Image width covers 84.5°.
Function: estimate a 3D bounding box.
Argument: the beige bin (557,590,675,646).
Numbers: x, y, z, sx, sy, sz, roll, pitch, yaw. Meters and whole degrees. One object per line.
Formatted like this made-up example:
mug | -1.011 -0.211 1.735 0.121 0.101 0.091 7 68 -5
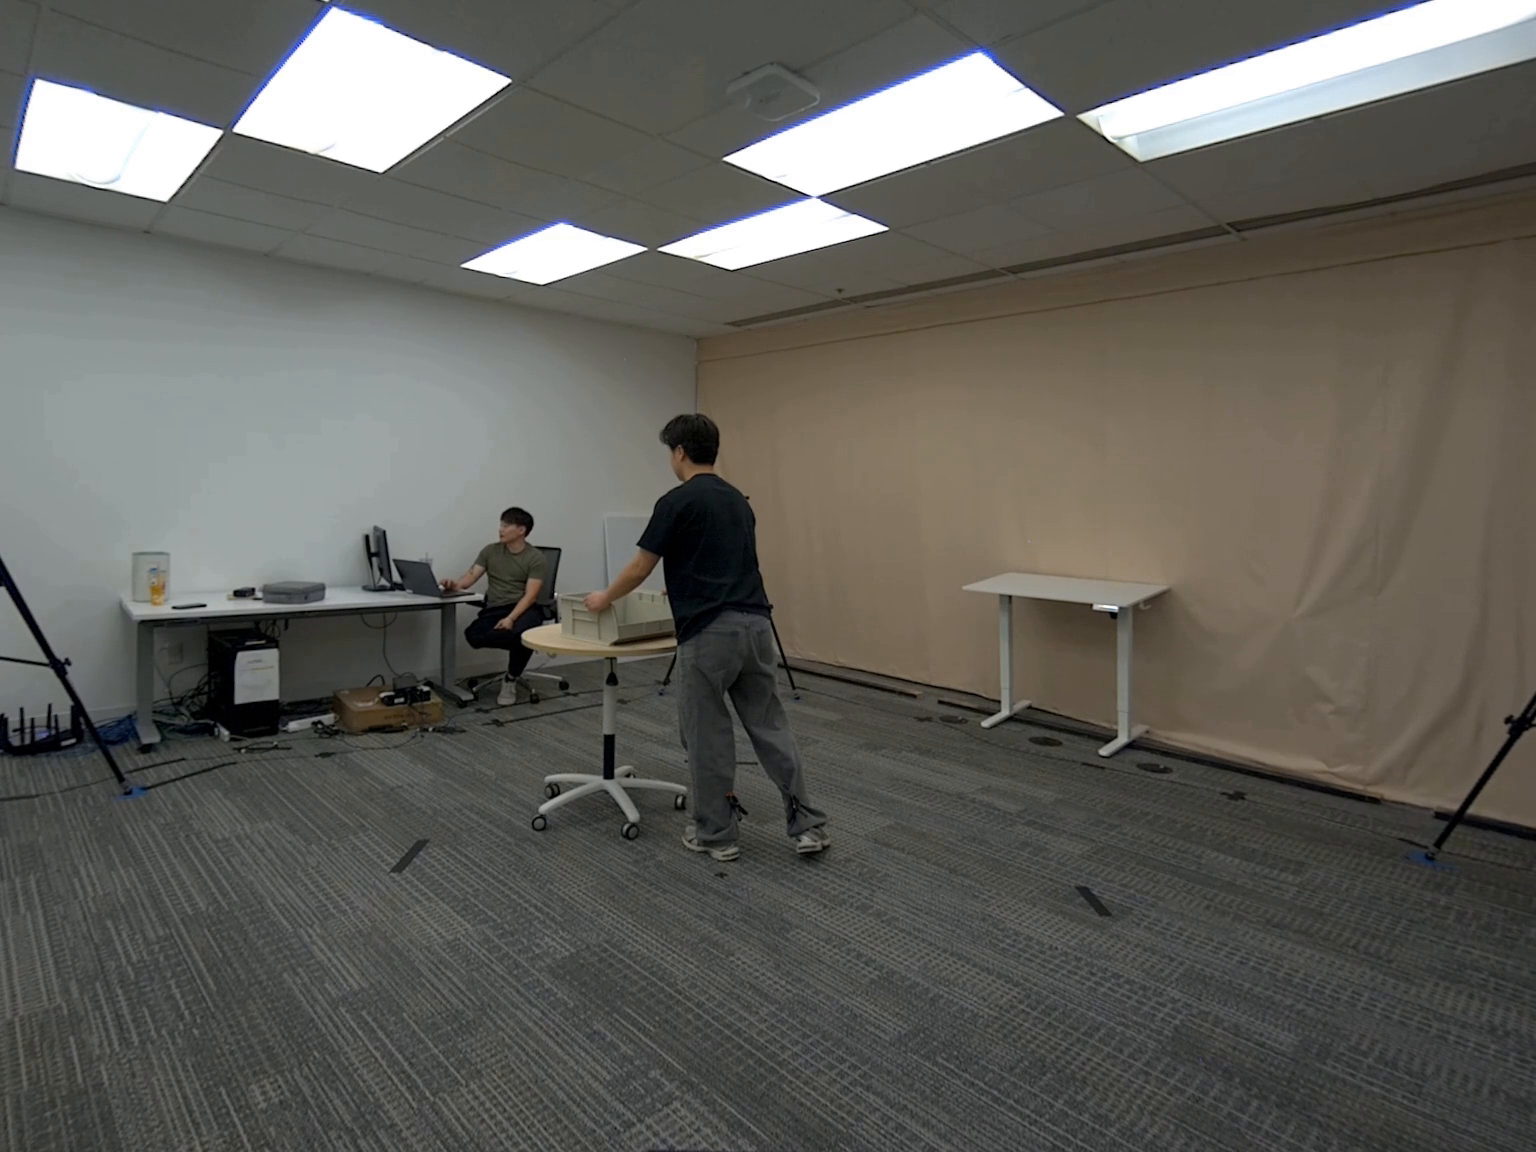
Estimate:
beige bin | -0.629 0.175 3.642 0.387 0.188 0.413 4 6 40
